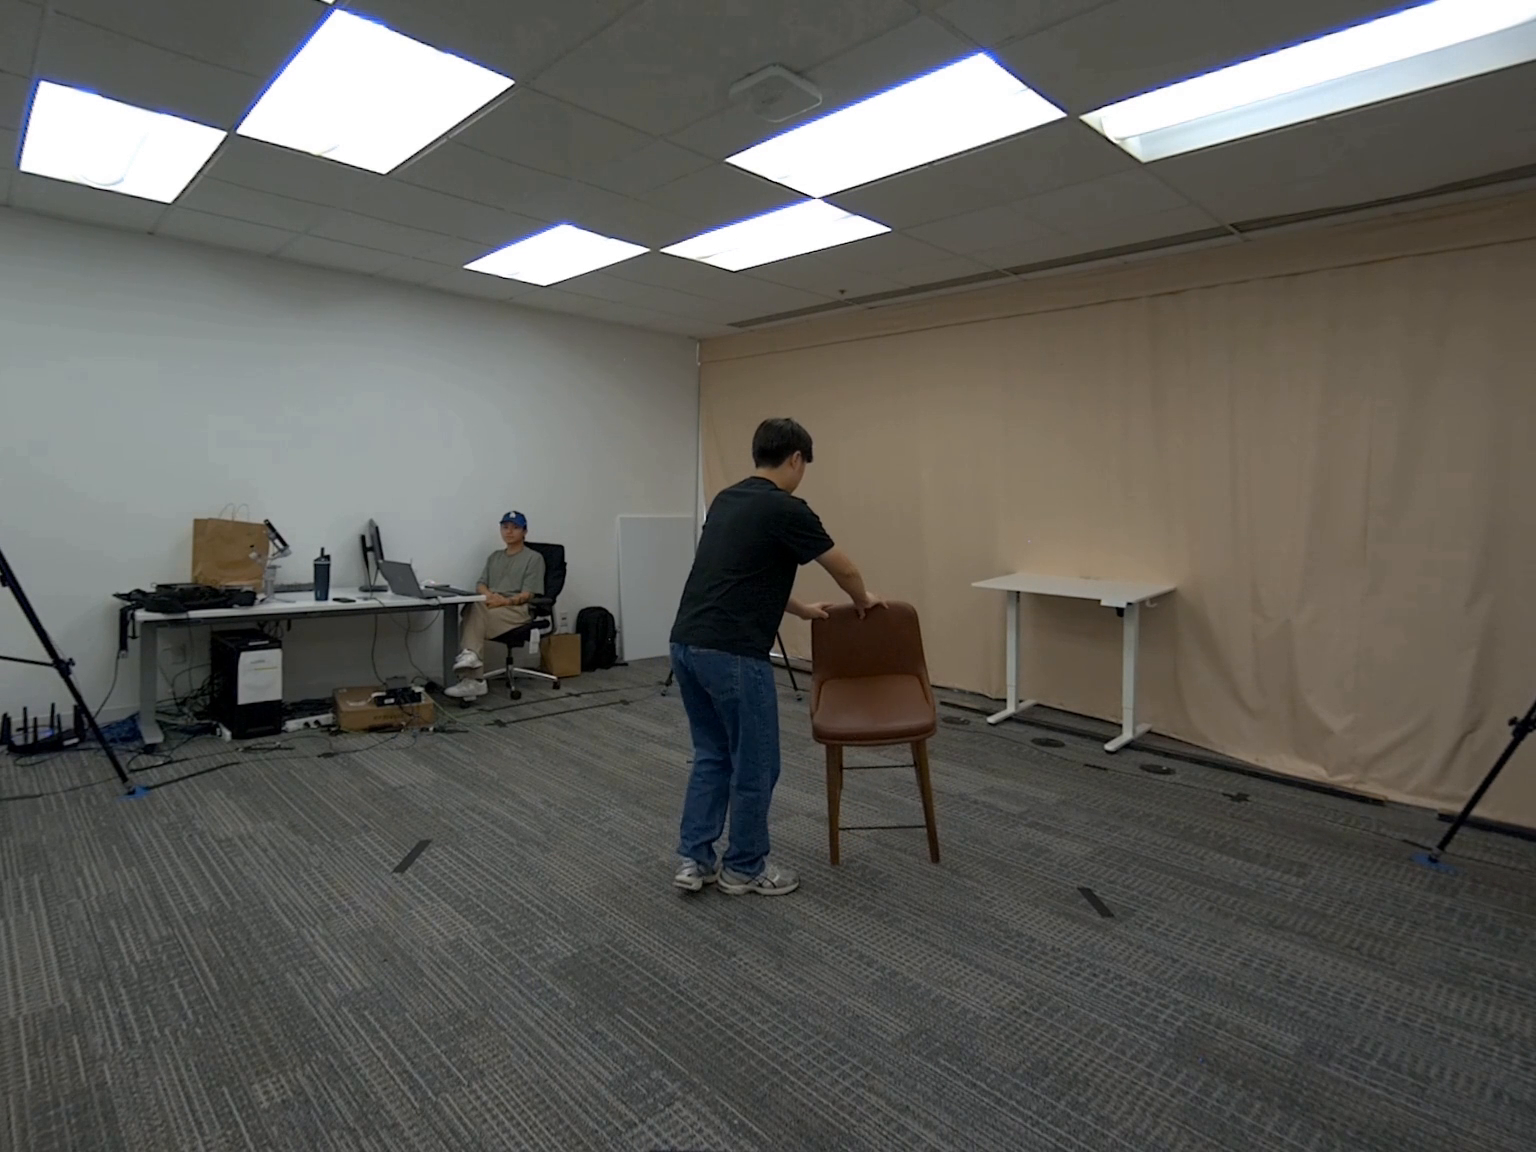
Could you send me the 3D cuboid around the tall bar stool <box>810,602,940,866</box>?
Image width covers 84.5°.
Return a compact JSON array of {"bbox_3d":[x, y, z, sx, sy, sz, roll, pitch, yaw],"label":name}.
[{"bbox_3d":[0.410,0.608,3.225,0.459,0.875,0.472,-4,22,8],"label":"tall bar stool"}]
